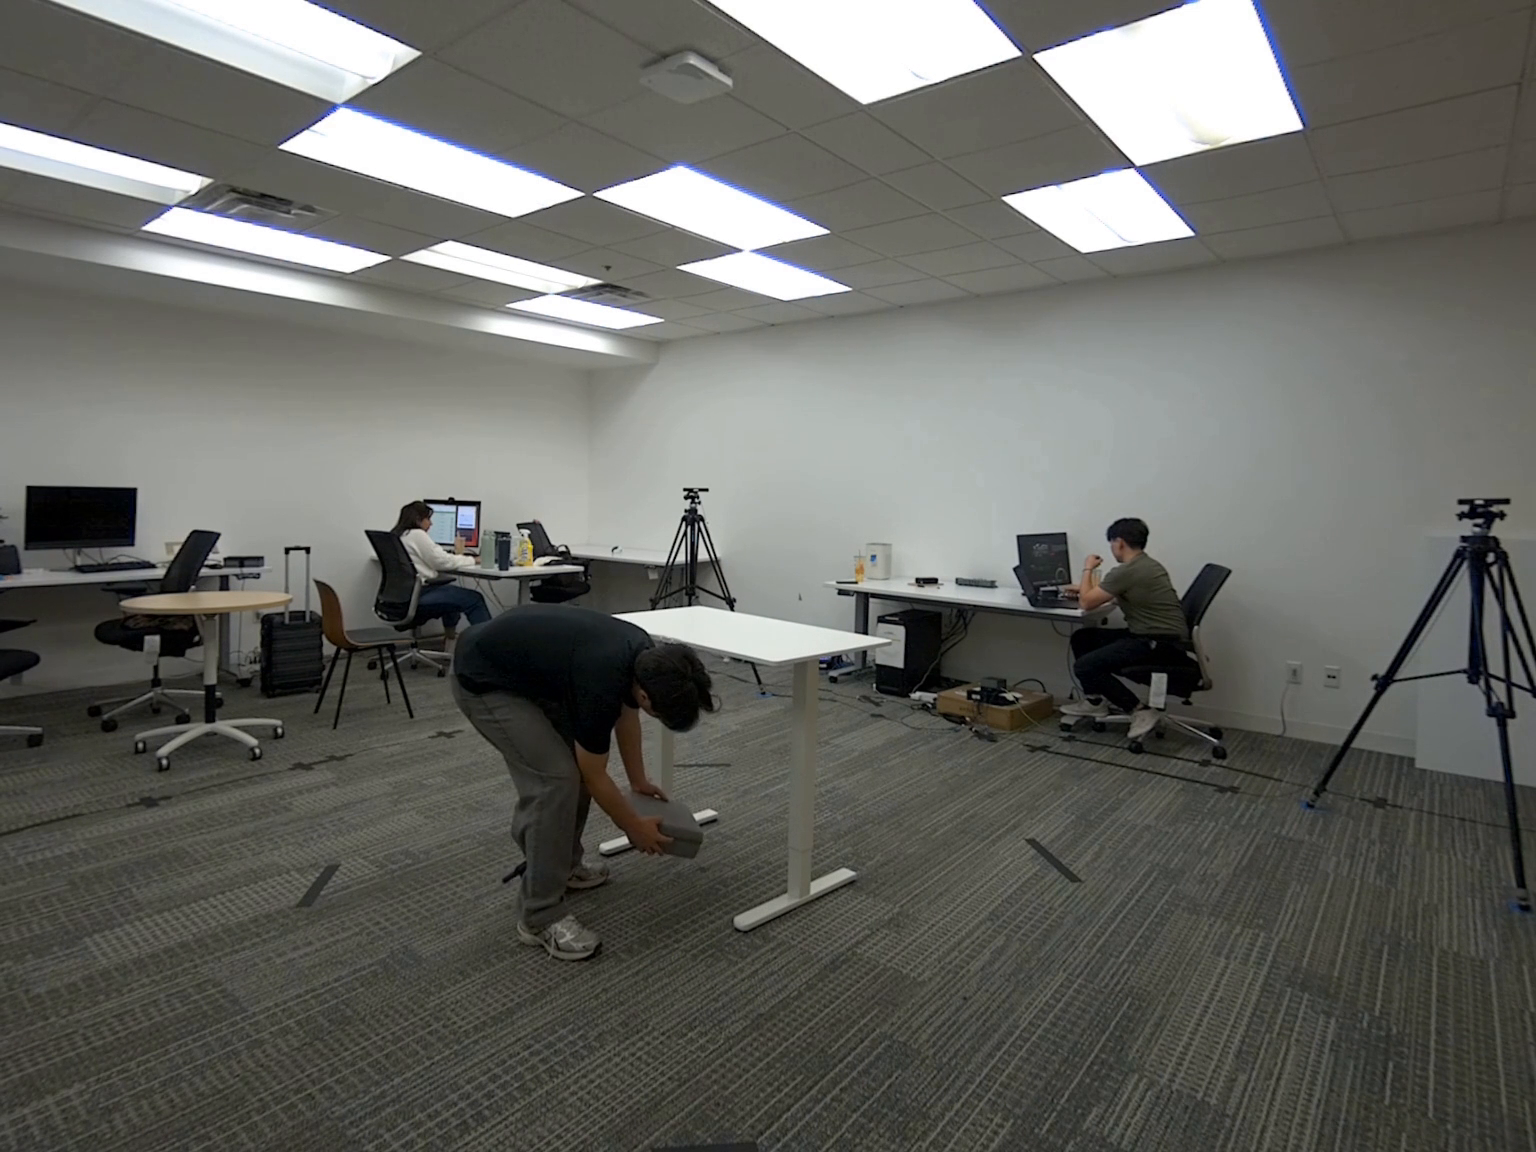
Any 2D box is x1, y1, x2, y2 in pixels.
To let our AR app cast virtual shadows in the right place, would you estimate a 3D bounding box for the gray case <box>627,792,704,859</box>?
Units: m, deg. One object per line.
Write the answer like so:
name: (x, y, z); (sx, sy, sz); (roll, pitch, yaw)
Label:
gray case: (-0.366, 0.857, 2.932); (0.280, 0.103, 0.270); (18, -1, -21)
